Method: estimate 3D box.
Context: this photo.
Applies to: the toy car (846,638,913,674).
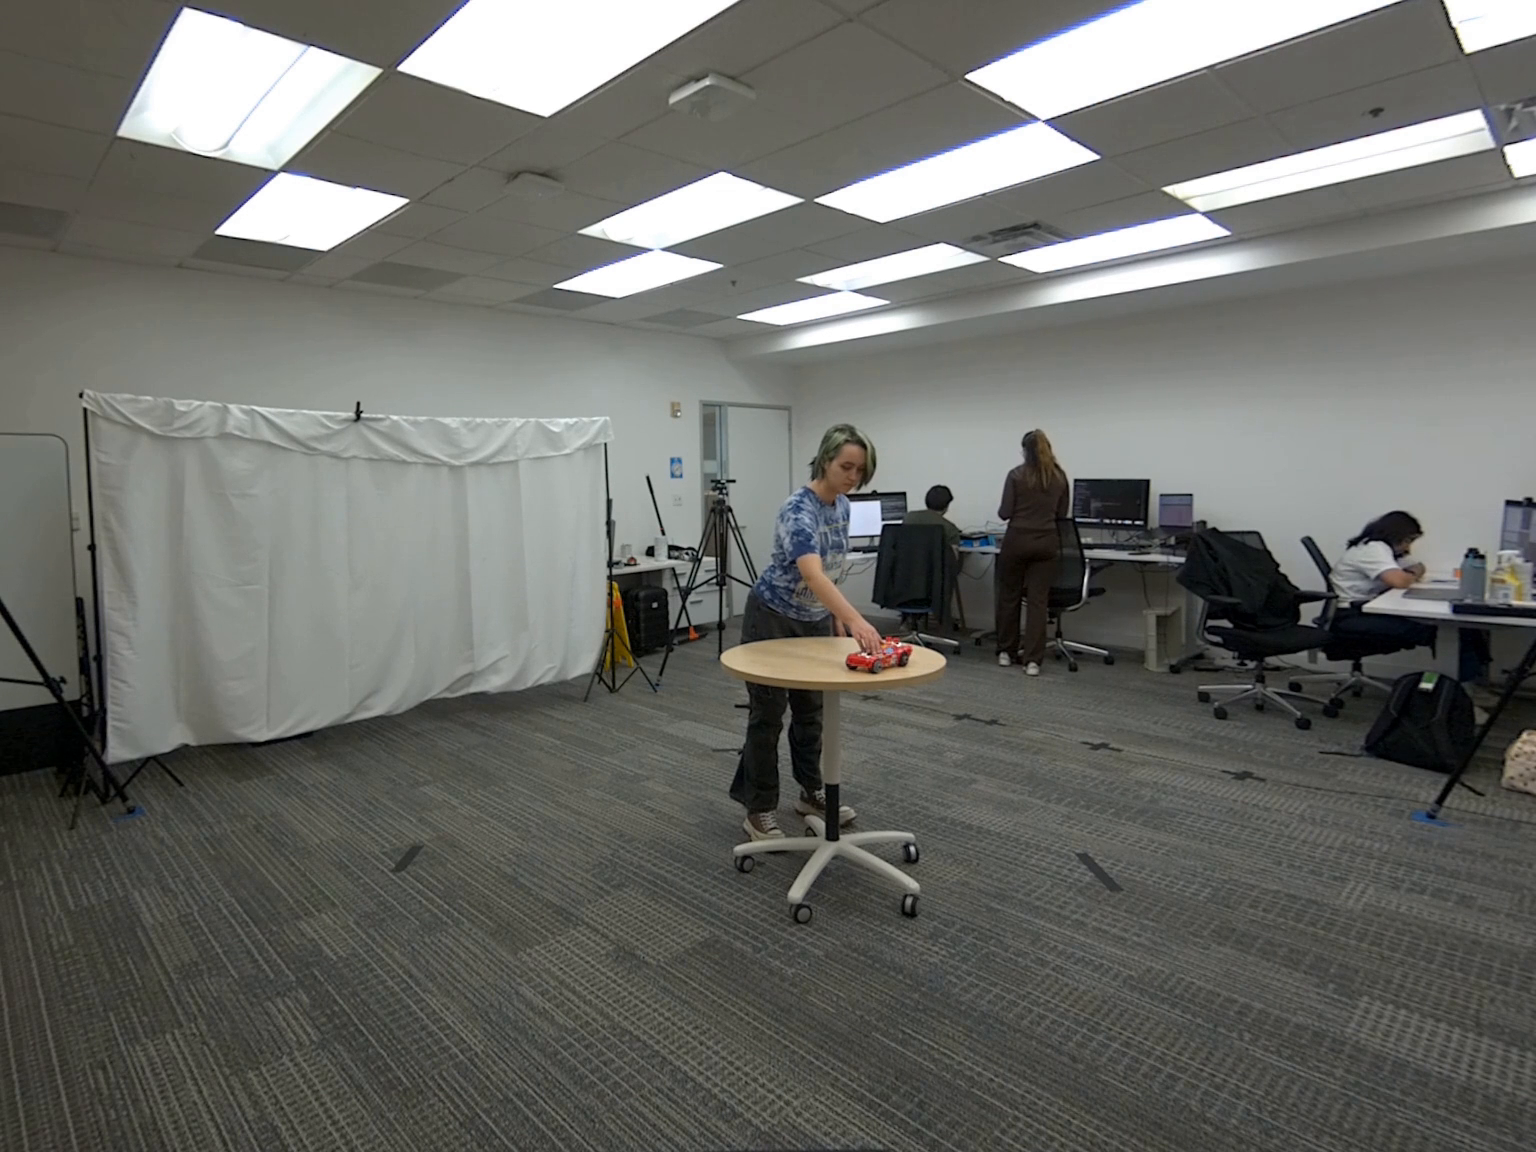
[{"bbox_3d":[0.379,0.266,2.771,0.134,0.082,0.250,6,20,44],"label":"toy car"}]
